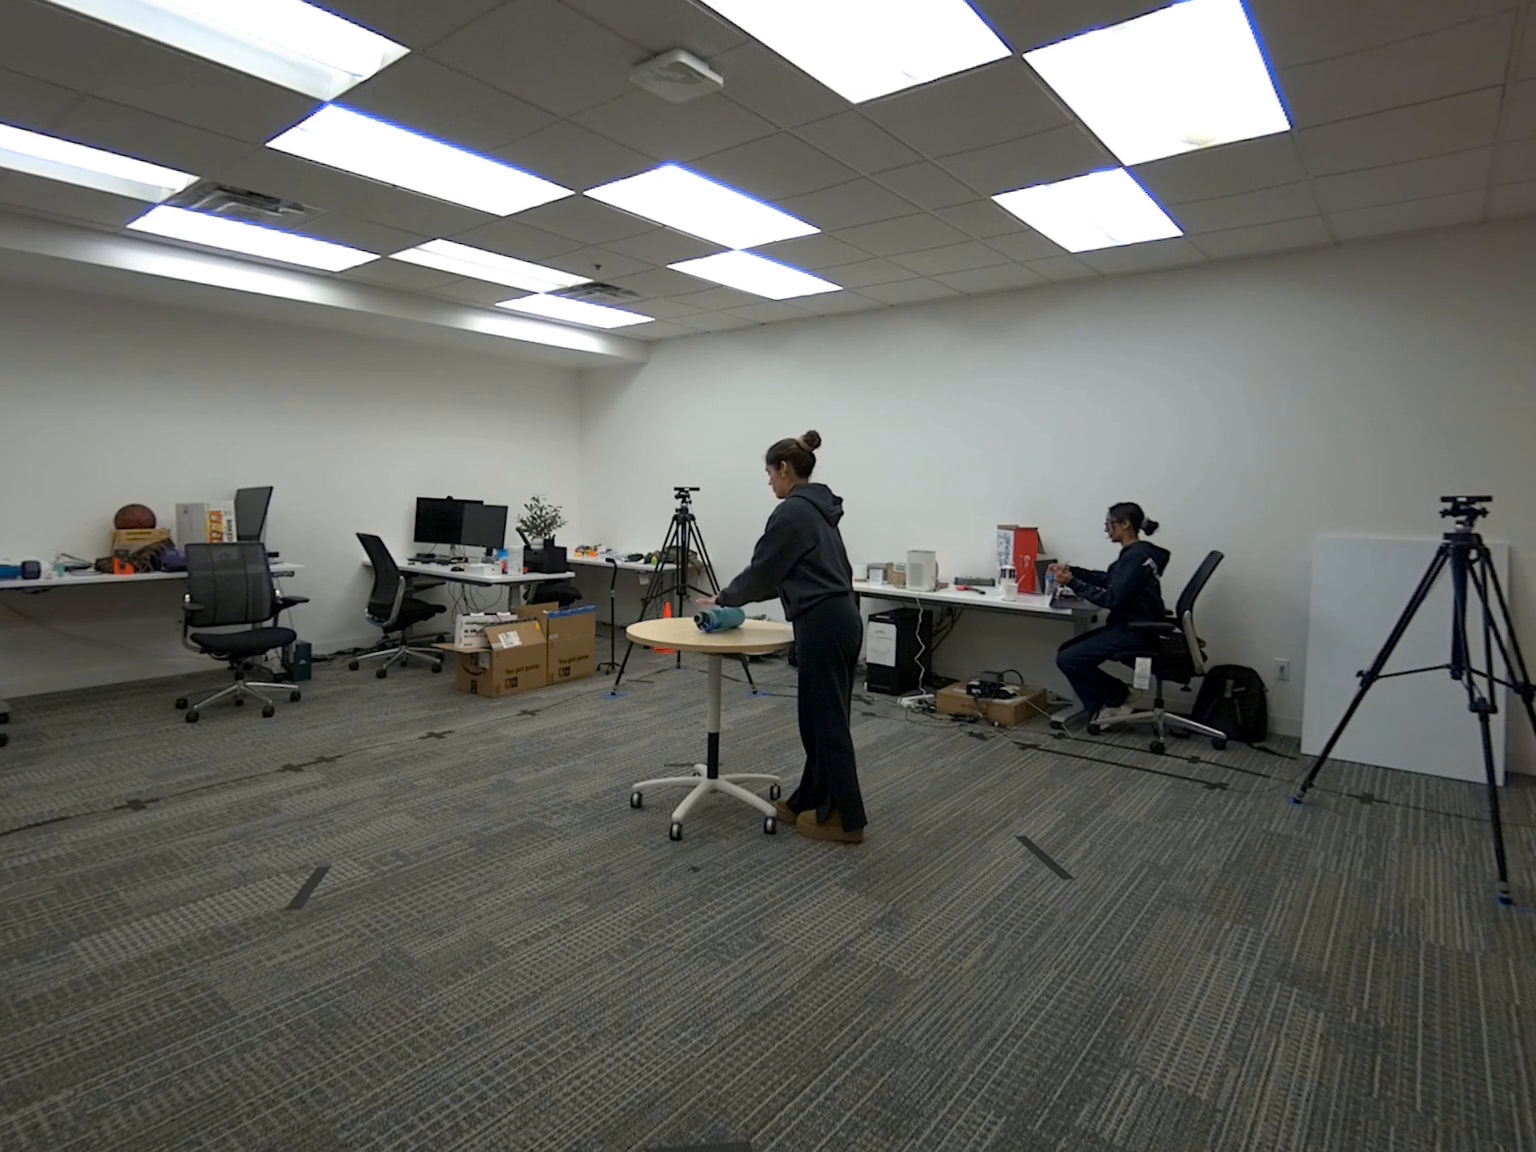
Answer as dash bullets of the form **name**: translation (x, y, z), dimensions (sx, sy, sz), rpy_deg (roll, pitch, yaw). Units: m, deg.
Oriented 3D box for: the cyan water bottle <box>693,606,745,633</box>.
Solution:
- **cyan water bottle**: translation (-0.217, 0.182, 3.668), dimensions (0.095, 0.092, 0.275), rpy_deg (3, 4, 34)
